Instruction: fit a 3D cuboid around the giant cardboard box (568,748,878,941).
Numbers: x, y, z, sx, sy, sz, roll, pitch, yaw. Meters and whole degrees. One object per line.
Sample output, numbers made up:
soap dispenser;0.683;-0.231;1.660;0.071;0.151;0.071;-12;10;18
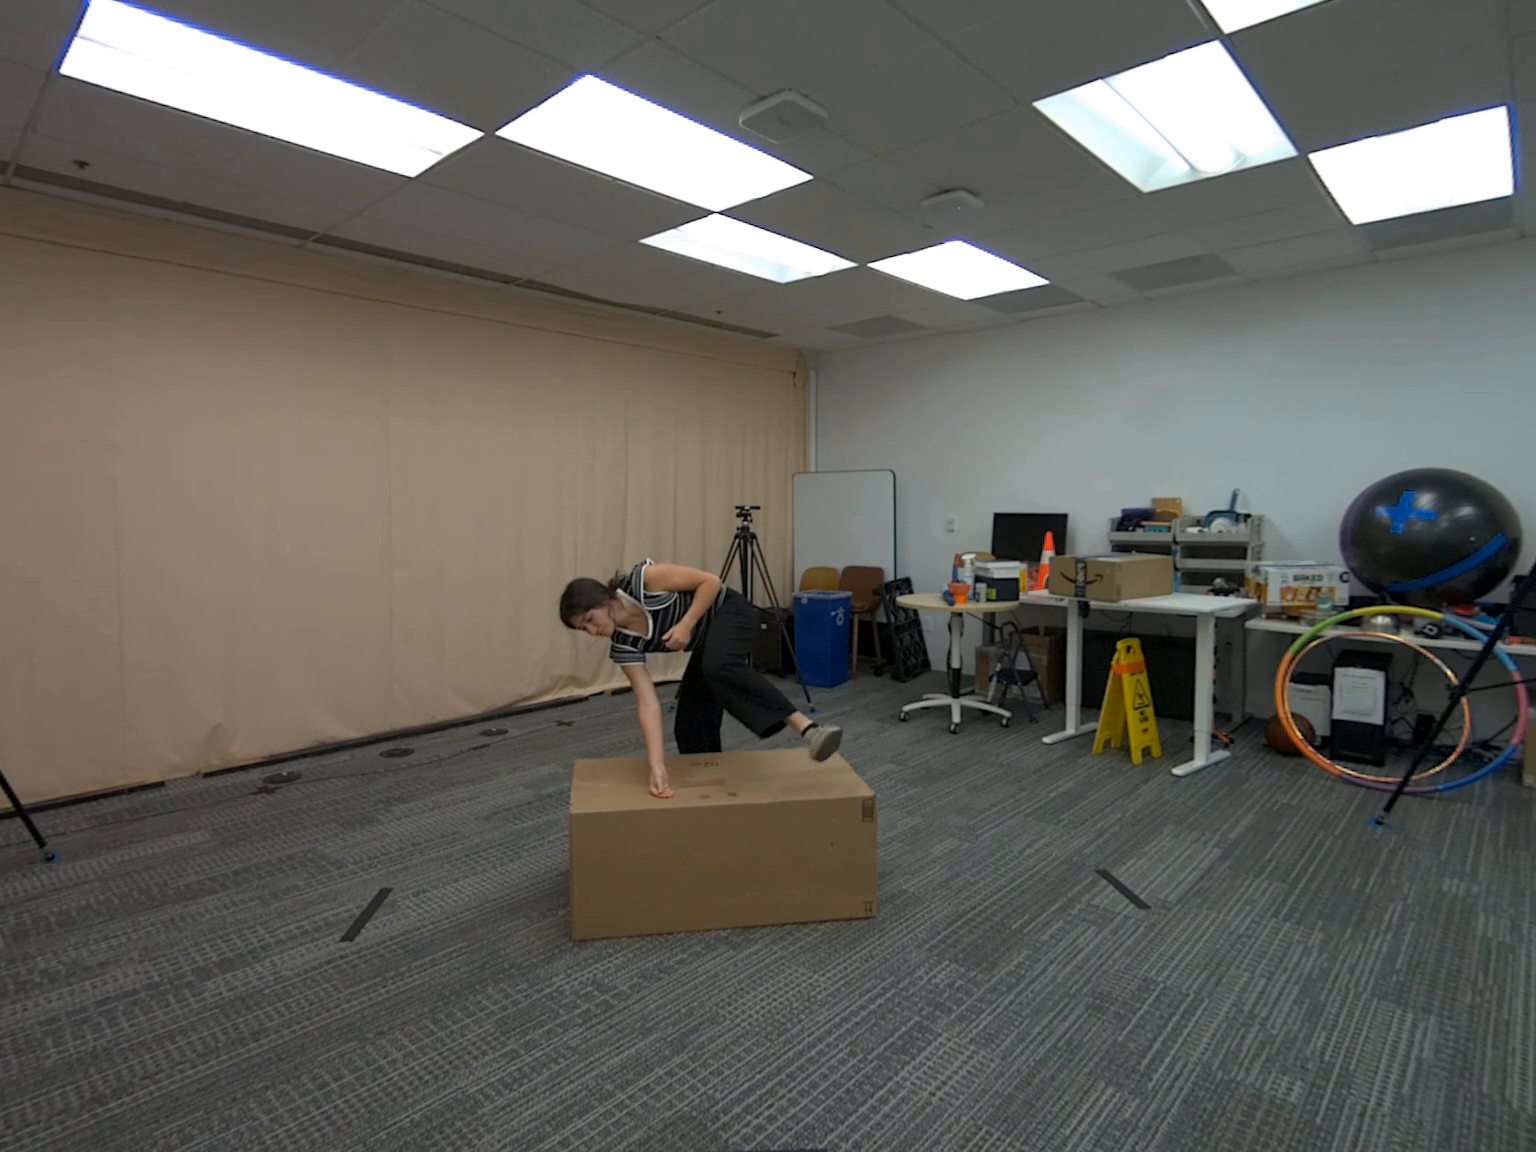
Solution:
giant cardboard box;-0.188;0.931;3.041;1.017;0.425;0.584;-1;4;-9
